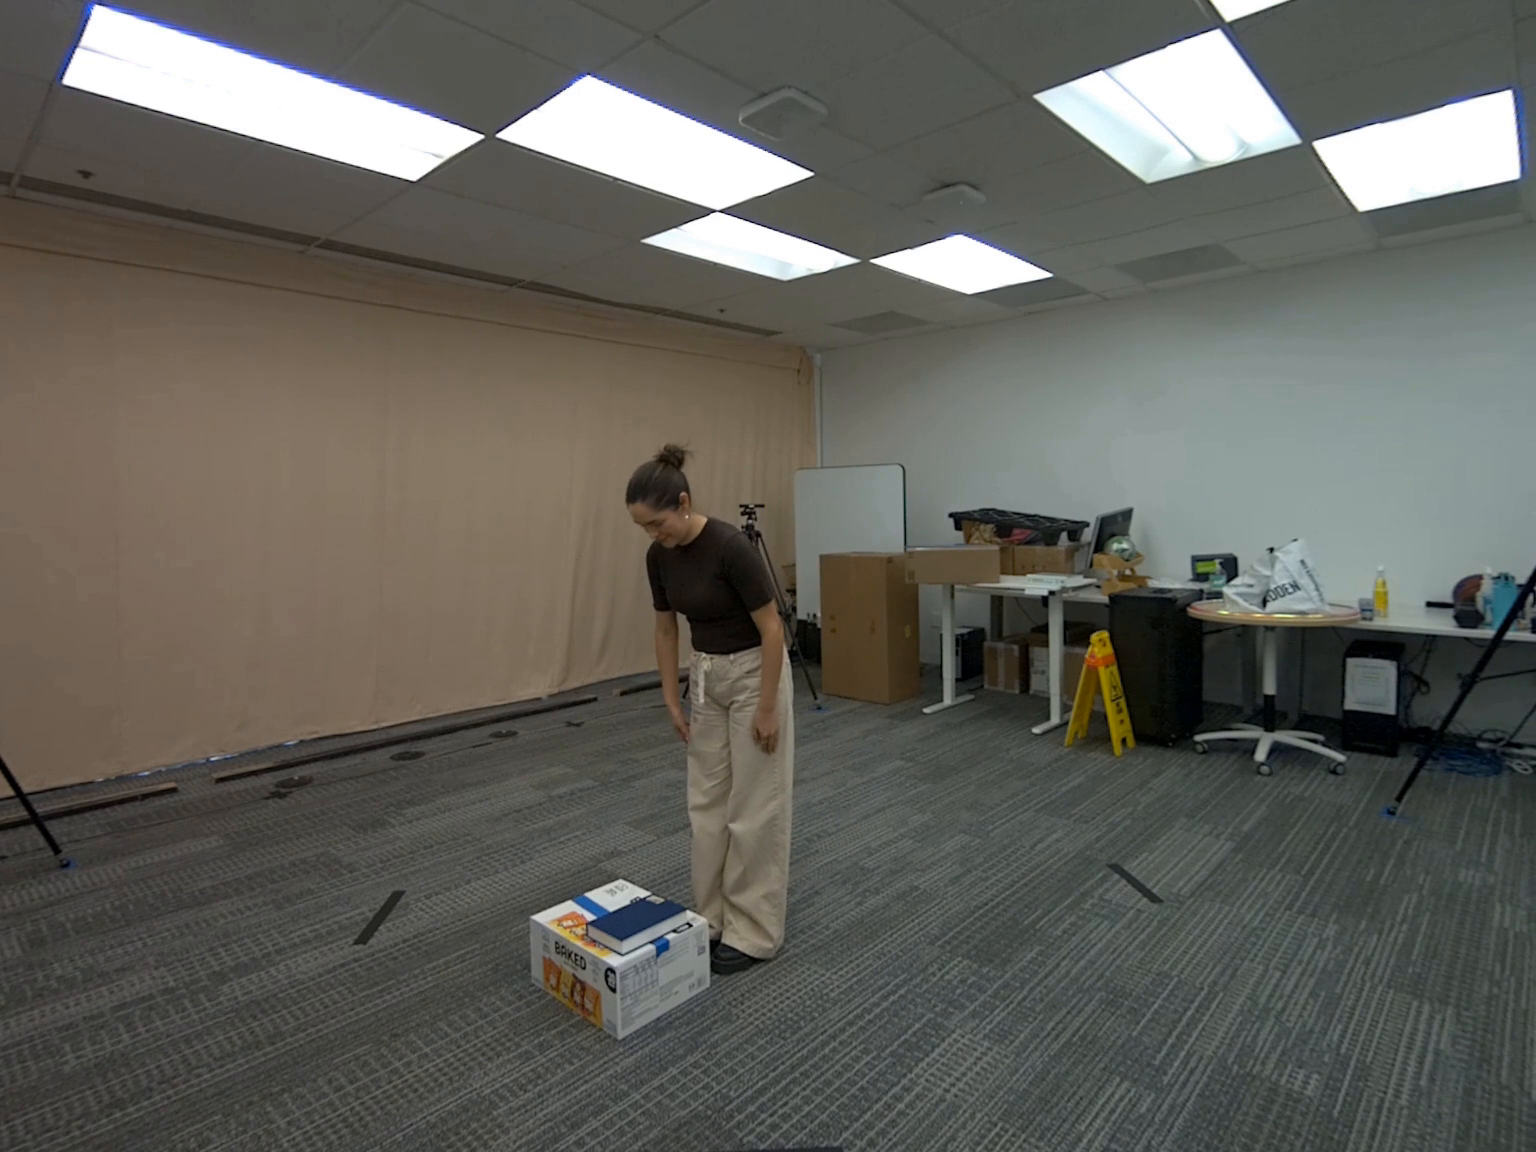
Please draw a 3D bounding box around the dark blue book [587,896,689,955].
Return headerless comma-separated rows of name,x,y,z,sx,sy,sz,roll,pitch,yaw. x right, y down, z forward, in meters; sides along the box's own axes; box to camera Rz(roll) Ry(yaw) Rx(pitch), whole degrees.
dark blue book,-0.364,0.980,2.372,0.169,0.045,0.238,0,4,43
